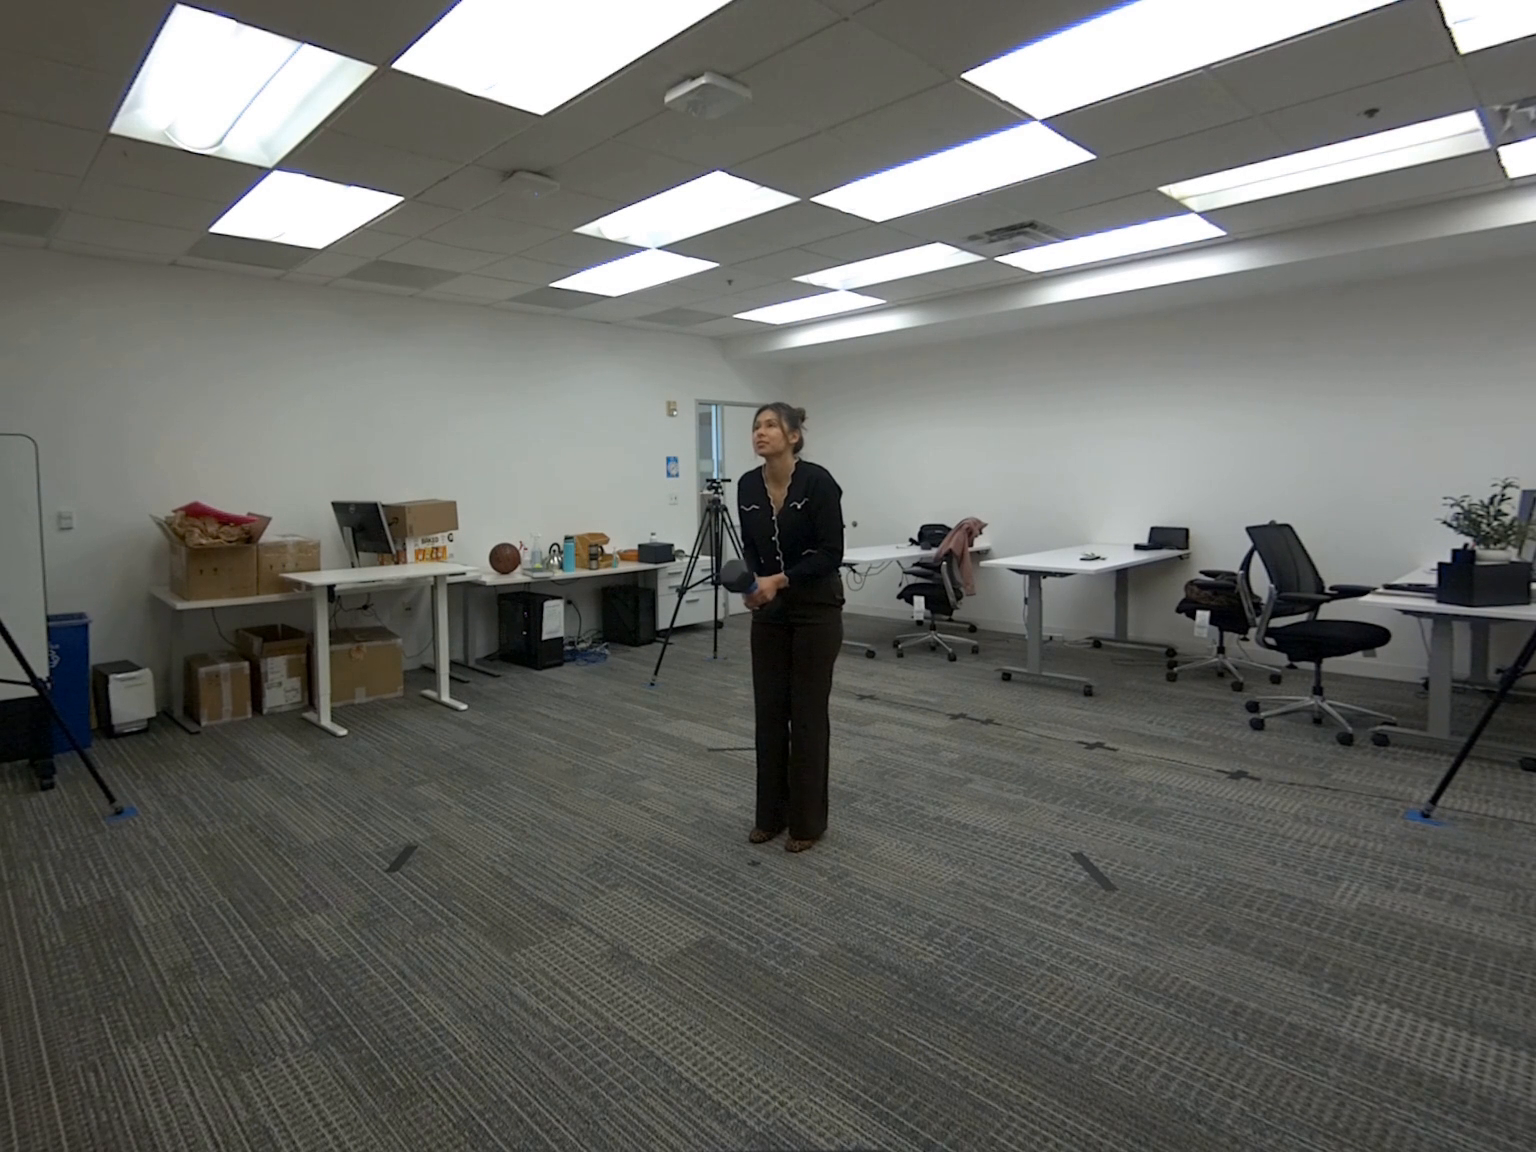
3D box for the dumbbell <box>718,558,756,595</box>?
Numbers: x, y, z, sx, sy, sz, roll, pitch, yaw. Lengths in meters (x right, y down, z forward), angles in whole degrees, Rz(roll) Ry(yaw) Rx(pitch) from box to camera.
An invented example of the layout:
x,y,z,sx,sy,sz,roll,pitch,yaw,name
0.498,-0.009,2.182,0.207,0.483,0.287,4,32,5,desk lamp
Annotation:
x,y,z,sx,sy,sz,roll,pitch,yaw,name
-0.065,0.045,3.111,0.113,0.123,0.282,33,-8,38,dumbbell
